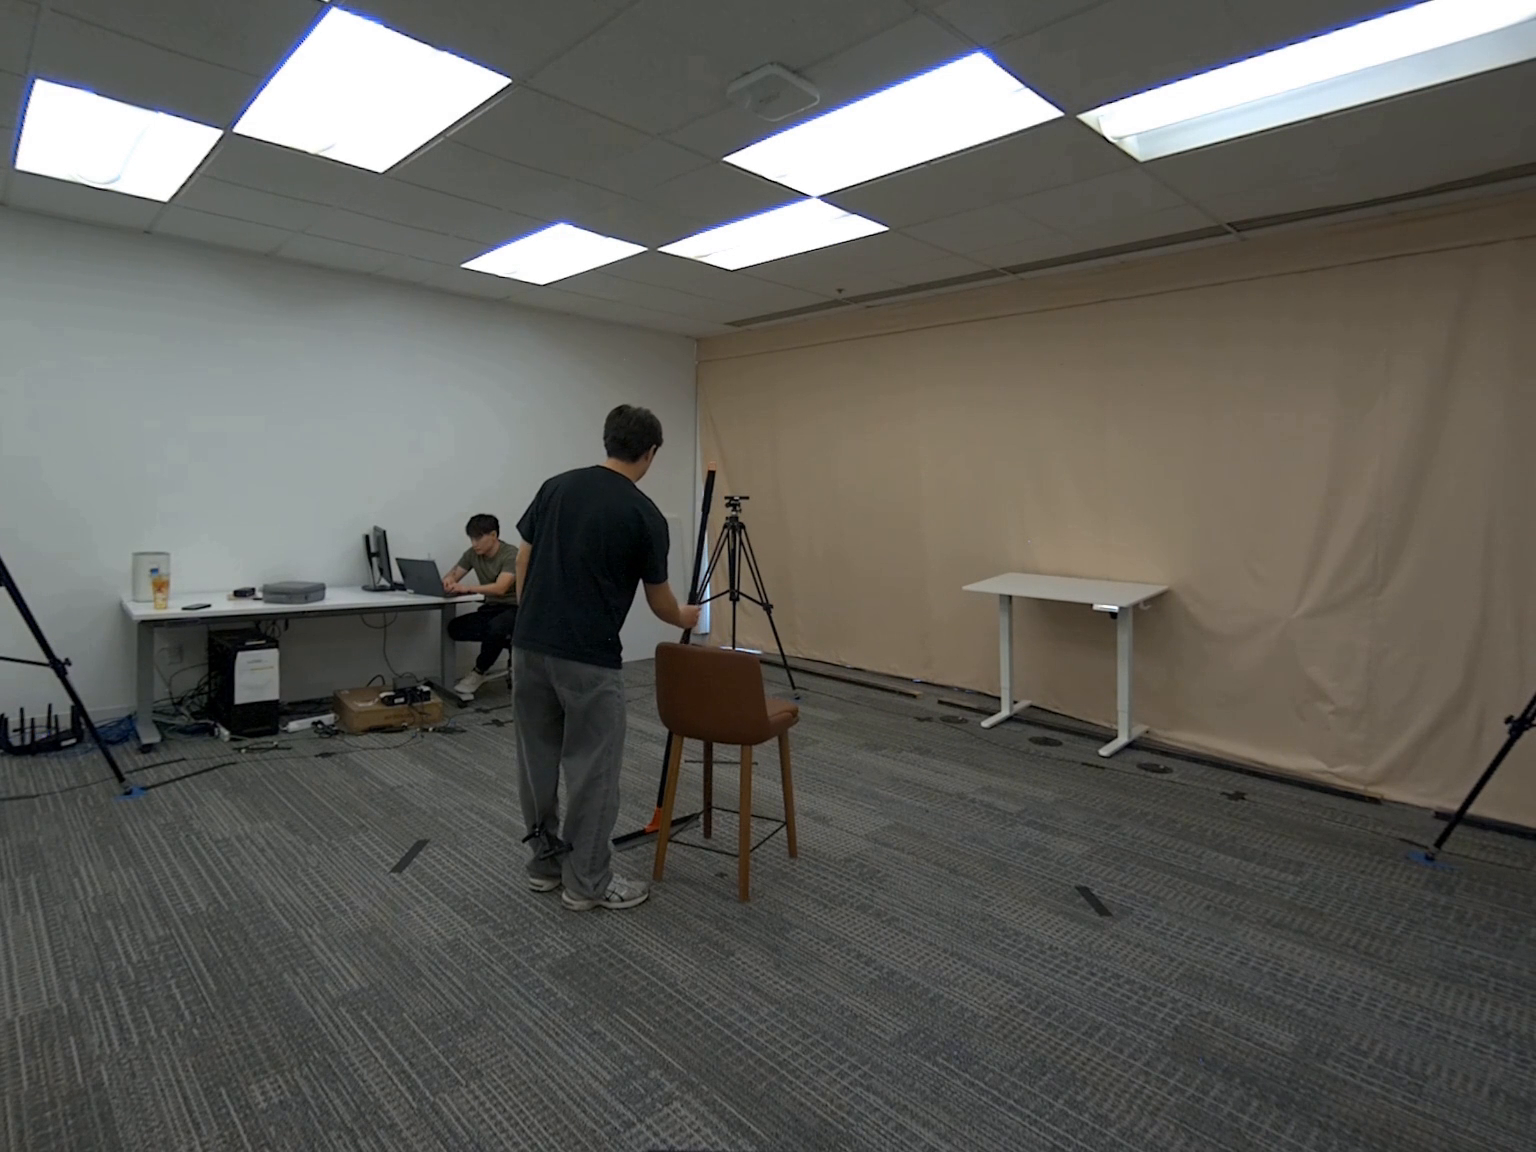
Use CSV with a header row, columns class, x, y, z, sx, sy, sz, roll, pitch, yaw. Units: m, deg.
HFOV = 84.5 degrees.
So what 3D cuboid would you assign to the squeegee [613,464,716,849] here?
class,x,y,z,sx,sy,sz,roll,pitch,yaw
squeegee,-0.348,0.306,3.289,0.427,1.530,0.054,2,10,-39
